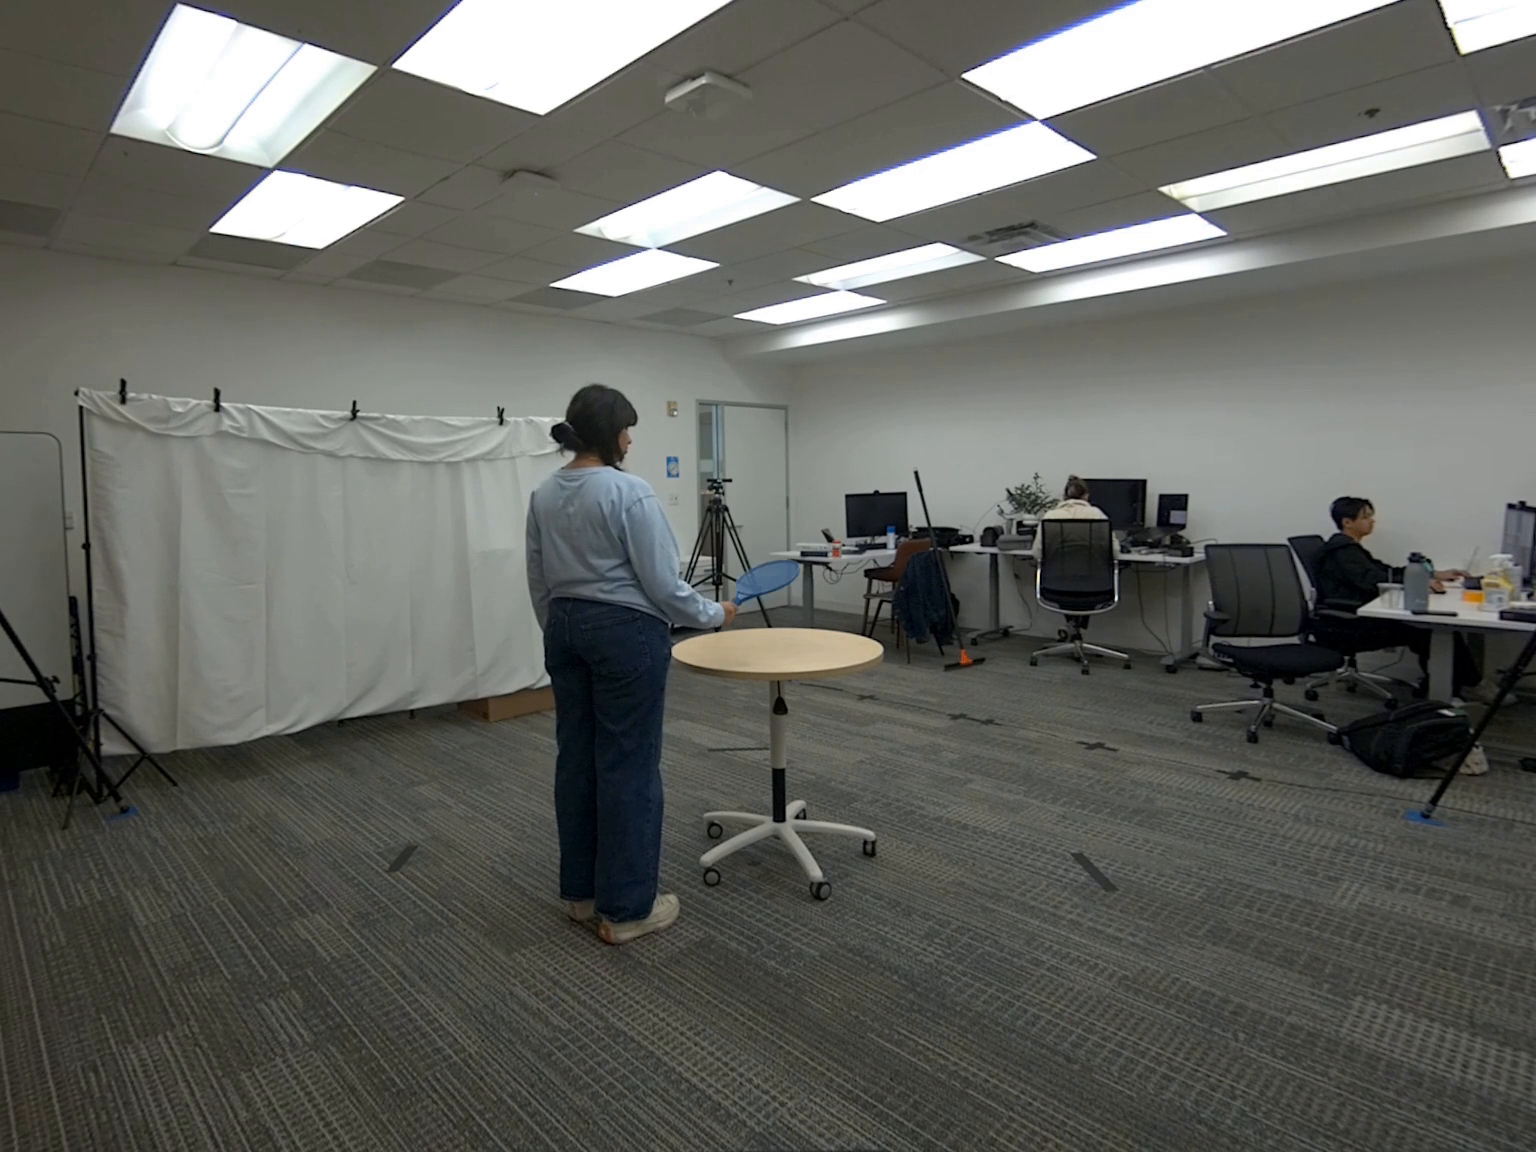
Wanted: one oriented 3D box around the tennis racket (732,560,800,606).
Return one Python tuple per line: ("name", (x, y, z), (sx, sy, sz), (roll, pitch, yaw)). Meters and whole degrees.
("tennis racket", (-0.051, 0.044, 2.942), (0.220, 0.031, 0.429), (6, 30, 41))
